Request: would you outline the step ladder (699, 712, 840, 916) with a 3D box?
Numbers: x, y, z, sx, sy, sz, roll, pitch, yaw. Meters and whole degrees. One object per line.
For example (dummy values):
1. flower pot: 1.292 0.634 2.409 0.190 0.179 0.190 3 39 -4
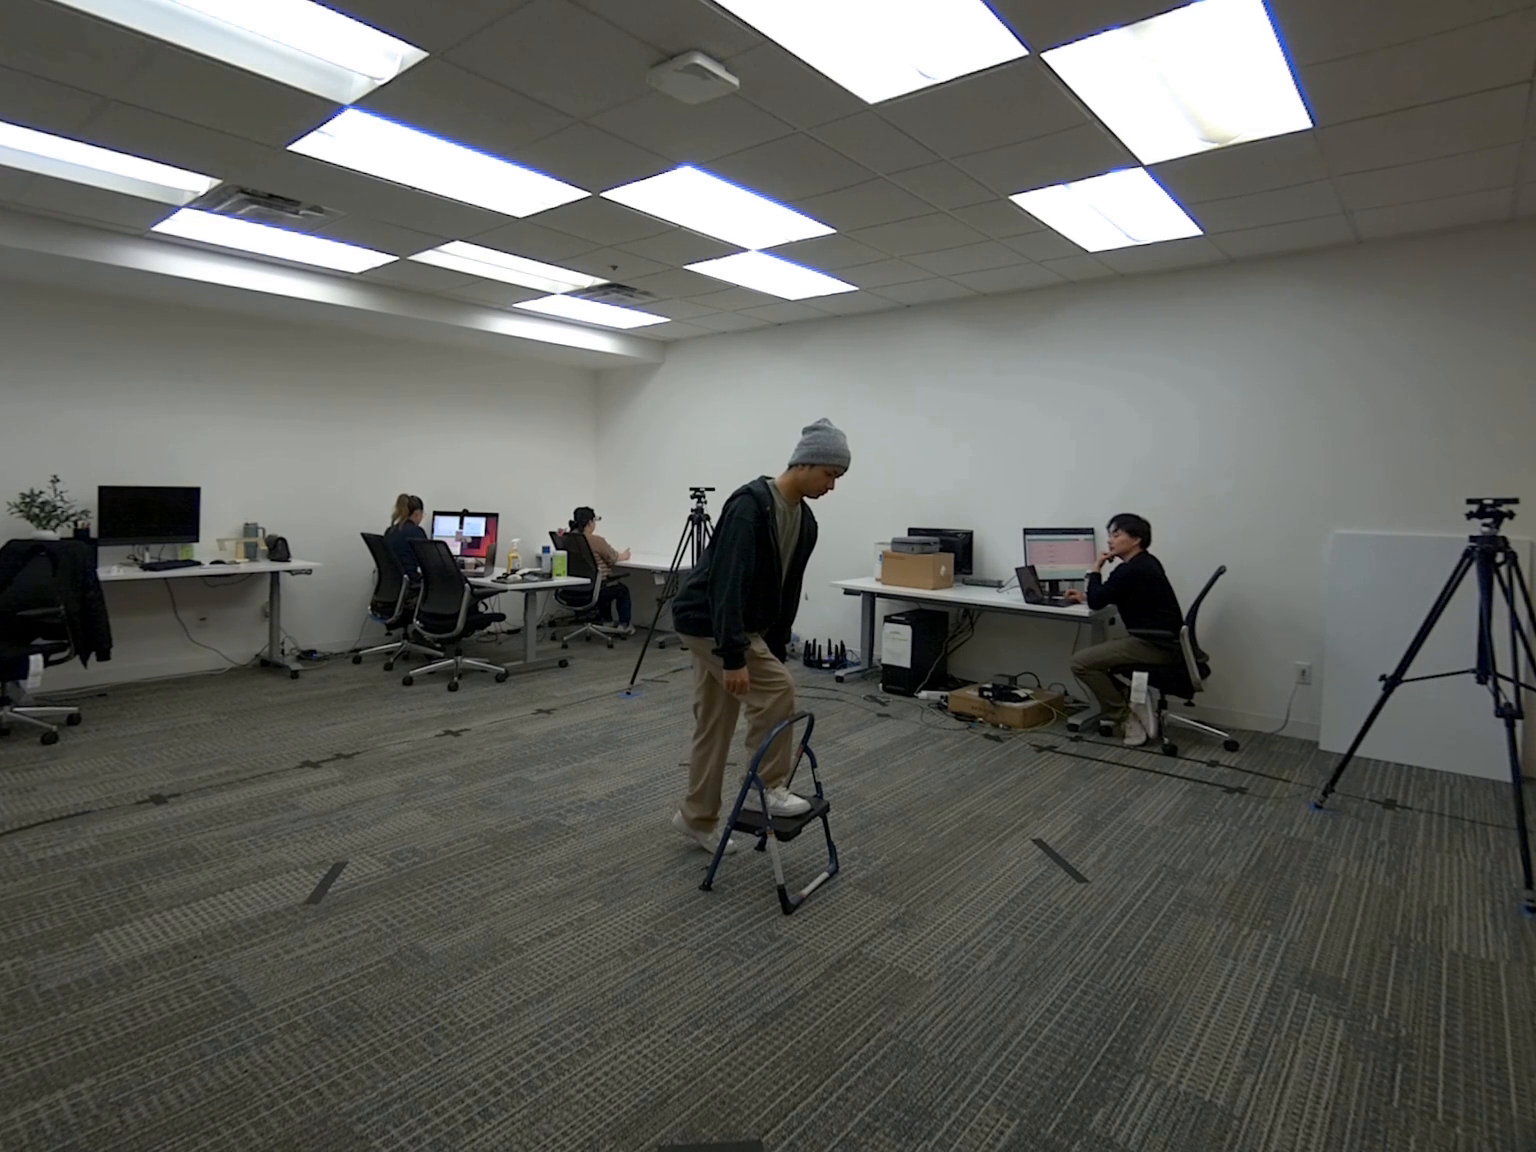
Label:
1. step ladder: 0.016 0.780 3.016 0.359 0.604 0.420 3 4 29
